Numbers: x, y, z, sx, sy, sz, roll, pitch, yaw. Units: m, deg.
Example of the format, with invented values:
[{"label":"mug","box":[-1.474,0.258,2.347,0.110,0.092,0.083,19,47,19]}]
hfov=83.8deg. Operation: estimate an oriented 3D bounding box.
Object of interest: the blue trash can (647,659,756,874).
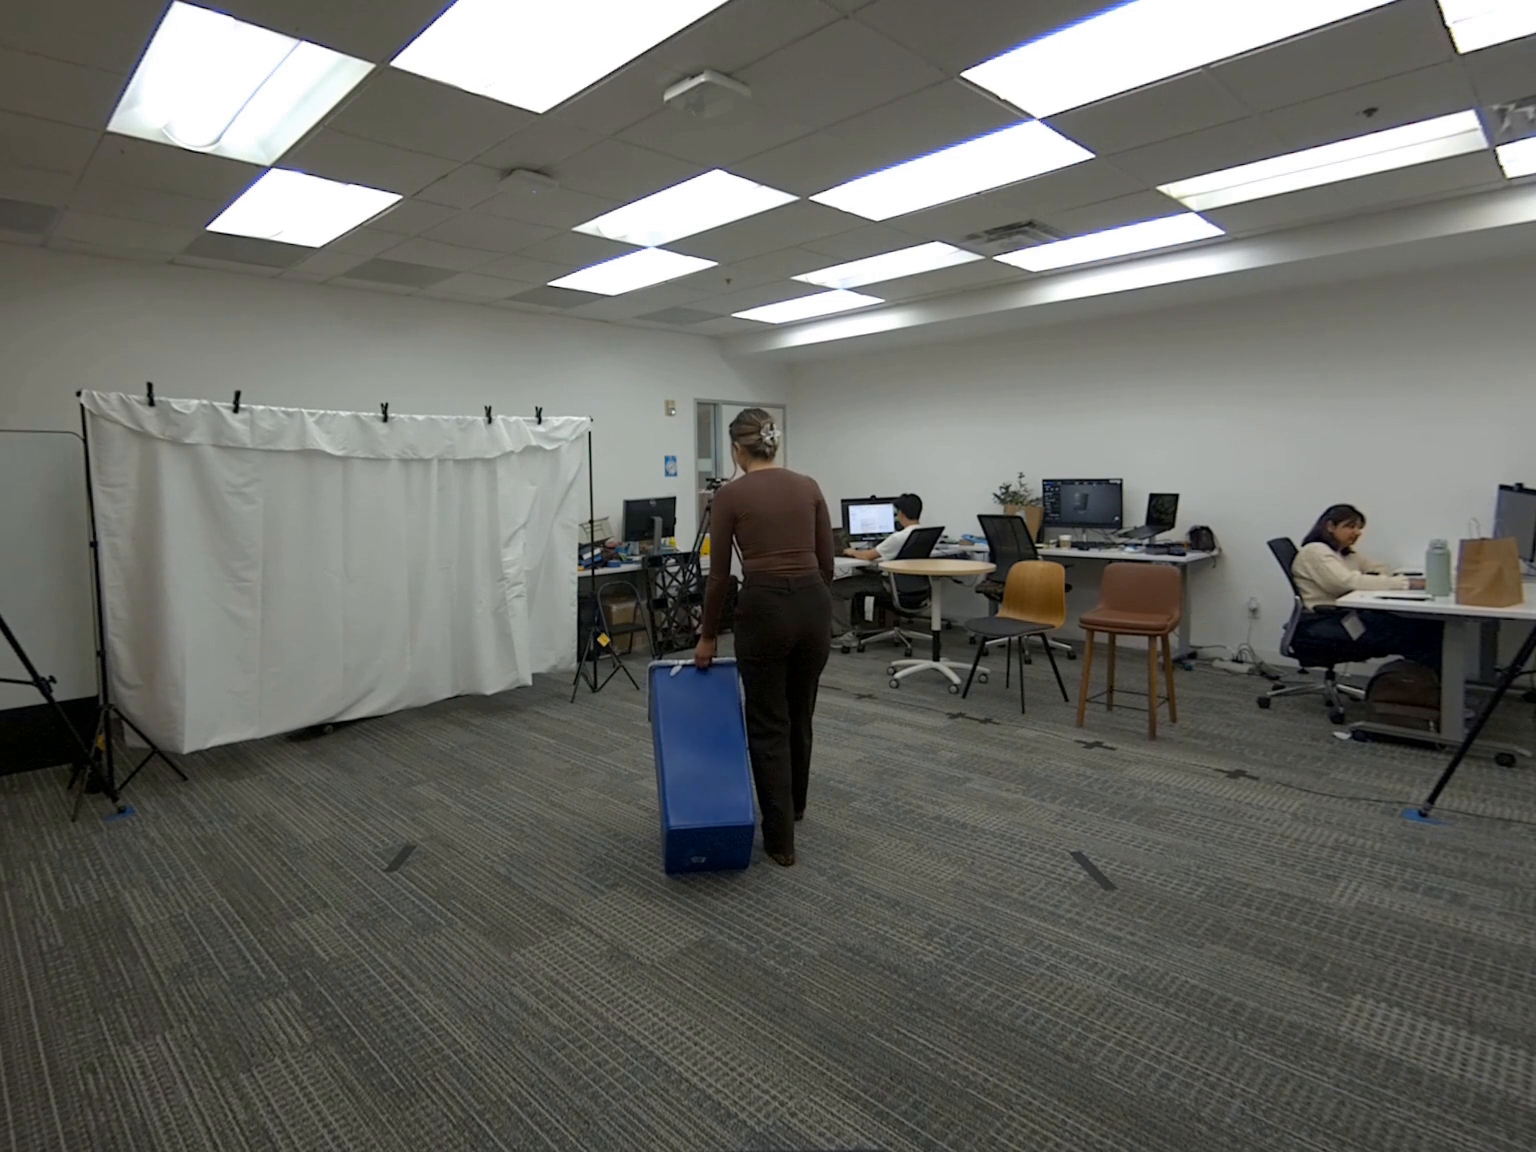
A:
[{"label":"blue trash can","box":[-0.244,0.703,3.219,0.371,0.369,0.737,-2,42,-10]}]
